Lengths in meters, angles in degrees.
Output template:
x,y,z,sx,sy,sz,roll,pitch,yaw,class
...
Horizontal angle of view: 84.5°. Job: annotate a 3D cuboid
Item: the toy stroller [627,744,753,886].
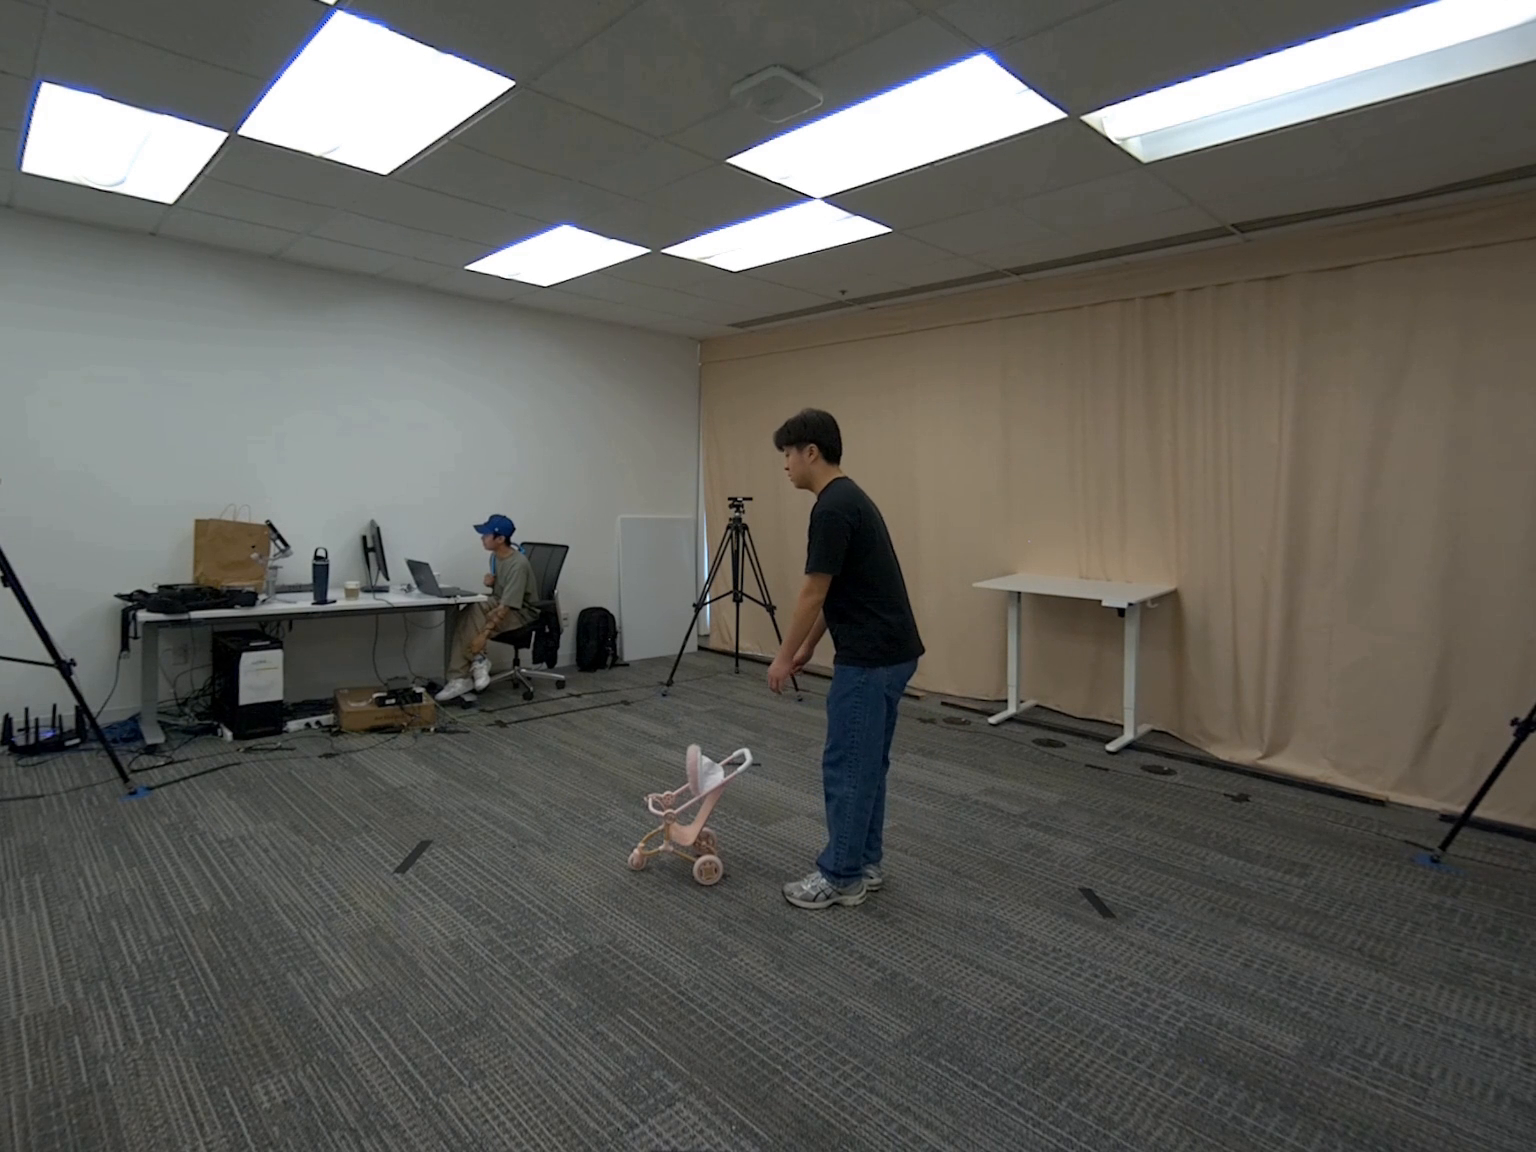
x,y,z,sx,sy,sz,roll,pitch,yaw,class
-0.305,0.874,3.140,0.340,0.534,0.282,16,3,-3,toy stroller
